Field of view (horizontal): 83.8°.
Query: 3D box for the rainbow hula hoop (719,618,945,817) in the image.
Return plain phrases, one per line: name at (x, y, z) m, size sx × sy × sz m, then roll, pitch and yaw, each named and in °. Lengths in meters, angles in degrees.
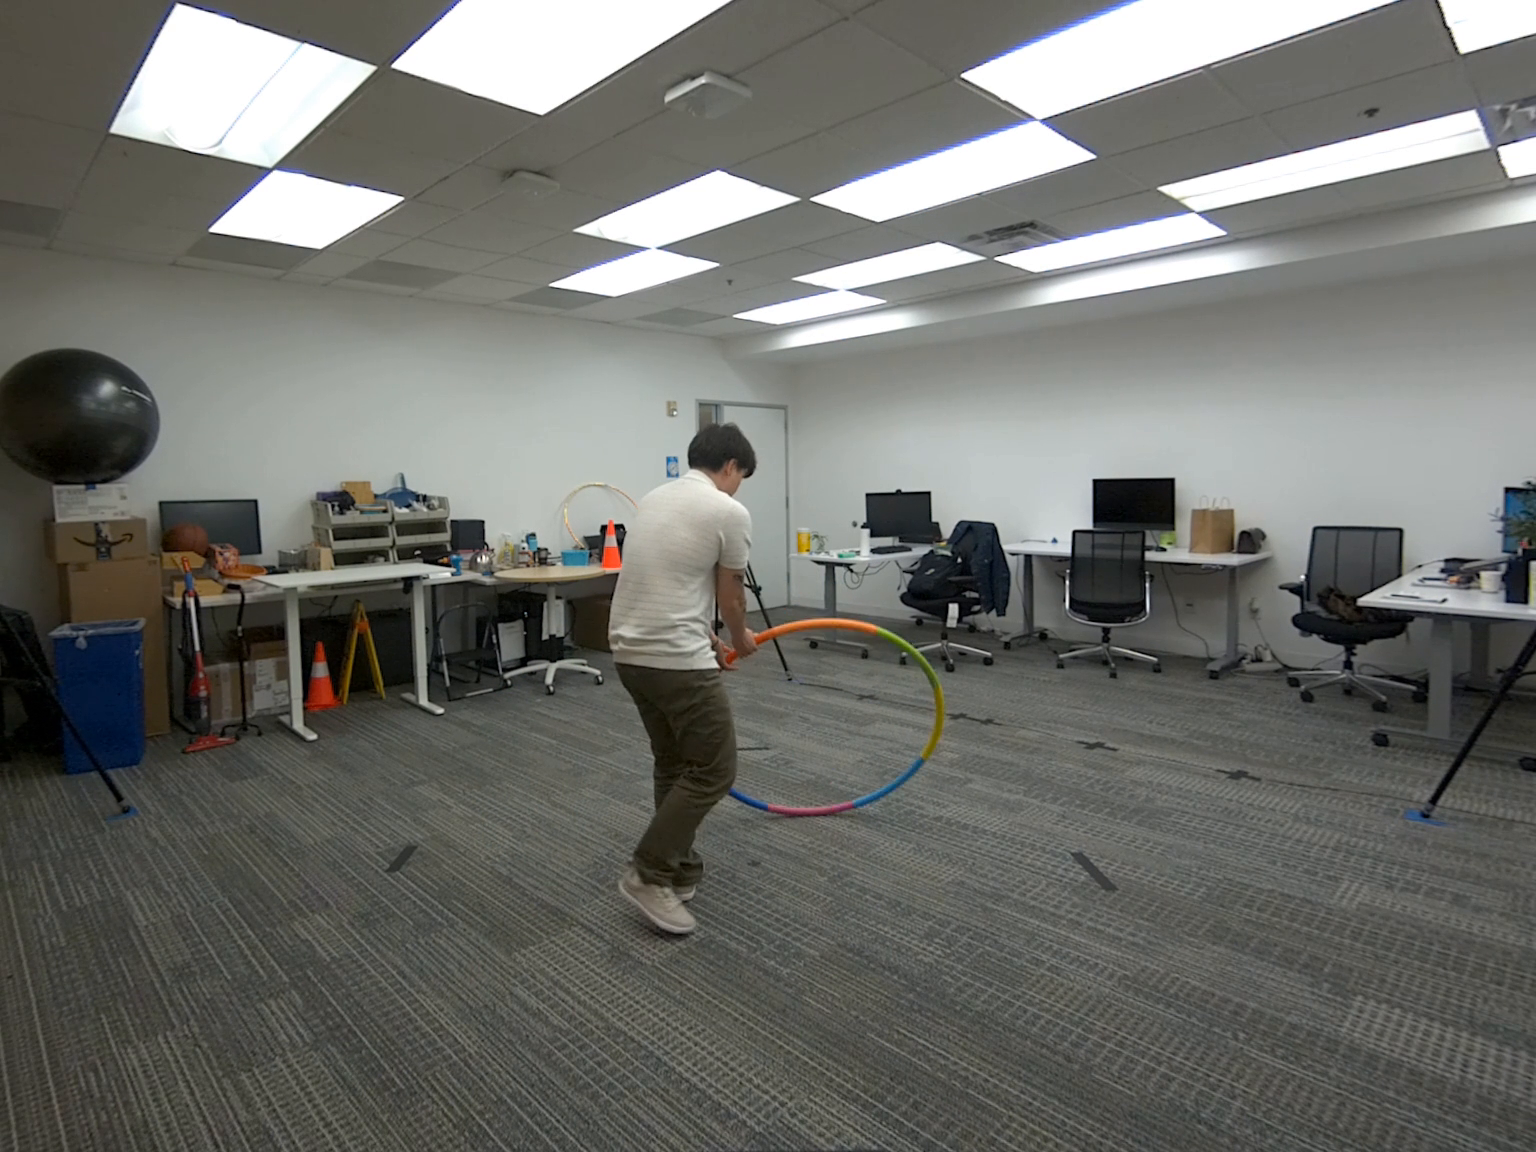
rainbow hula hoop at (0.180, 0.575, 3.314) m, size 0.976 × 0.956 × 0.036 m, roll -1°, pitch 31°, yaw -3°
